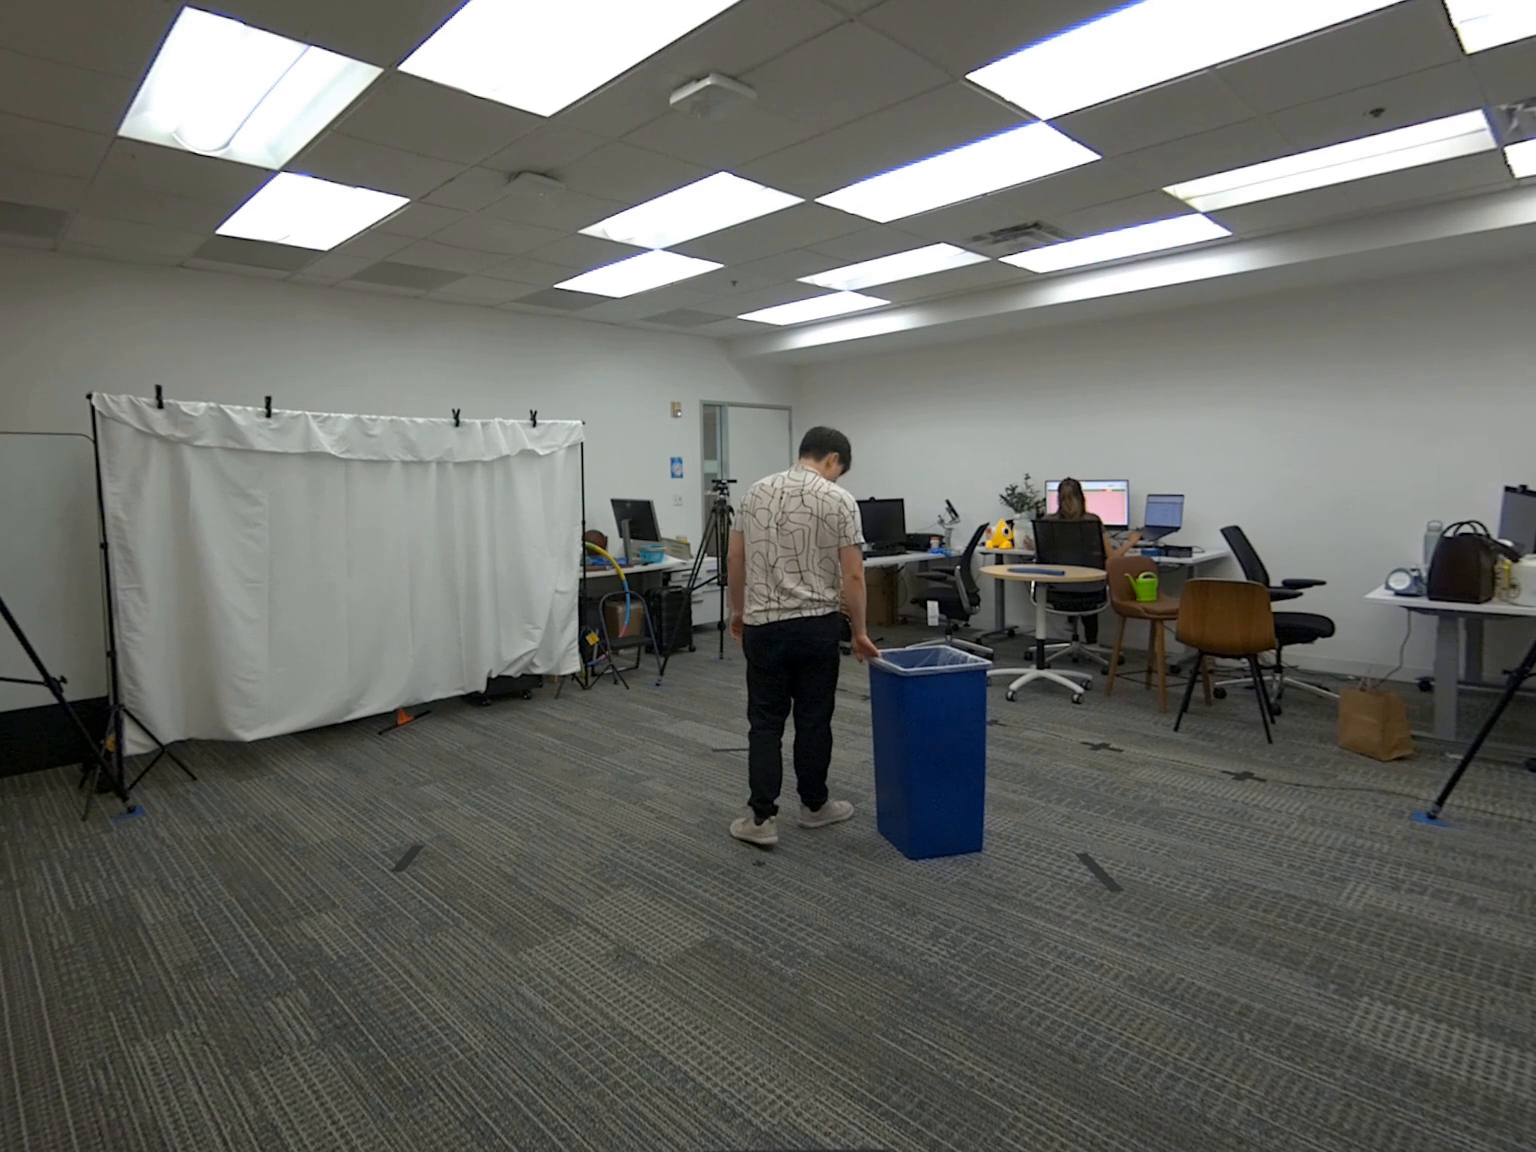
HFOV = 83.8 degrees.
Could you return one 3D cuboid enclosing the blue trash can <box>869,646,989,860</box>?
[{"bbox_3d":[0.602,0.662,3.261,0.368,0.712,0.385,-2,3,-17],"label":"blue trash can"}]
